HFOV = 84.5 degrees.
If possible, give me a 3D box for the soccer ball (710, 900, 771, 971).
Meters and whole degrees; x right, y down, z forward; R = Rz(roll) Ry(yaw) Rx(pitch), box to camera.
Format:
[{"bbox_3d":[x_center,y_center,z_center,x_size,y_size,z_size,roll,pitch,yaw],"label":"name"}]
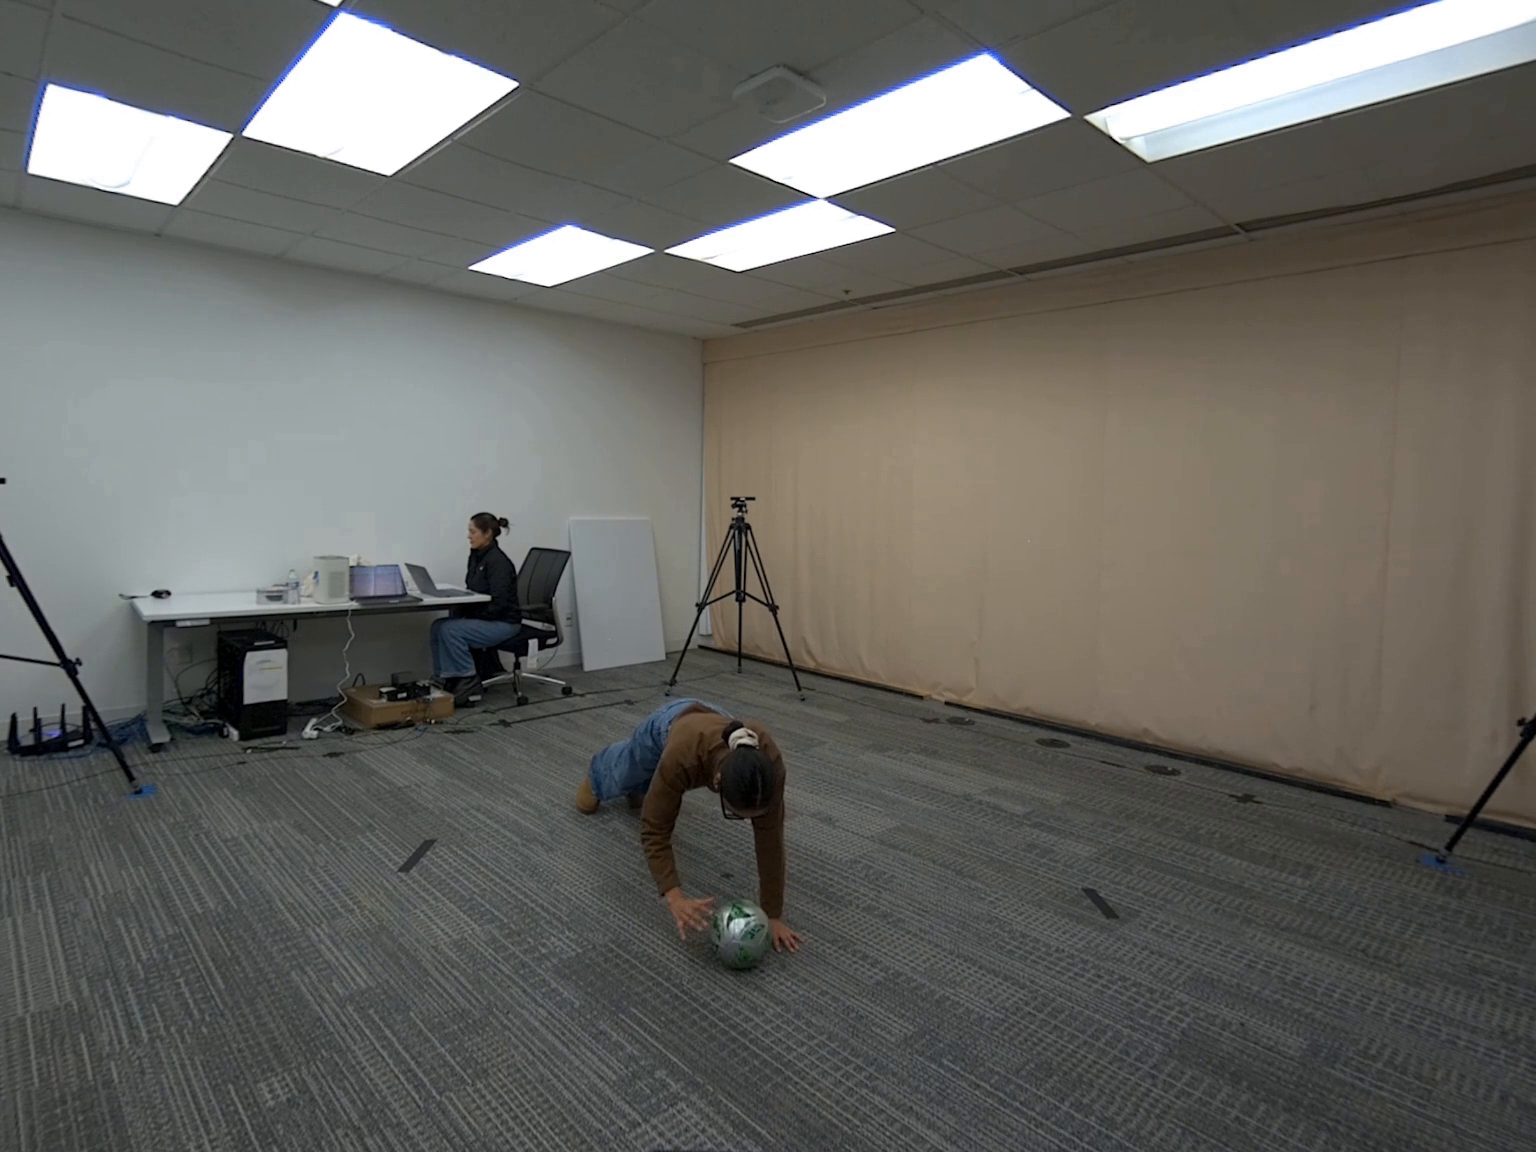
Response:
[{"bbox_3d":[-0.087,1.074,2.505,0.187,0.187,0.188,1,4,-1],"label":"soccer ball"}]
